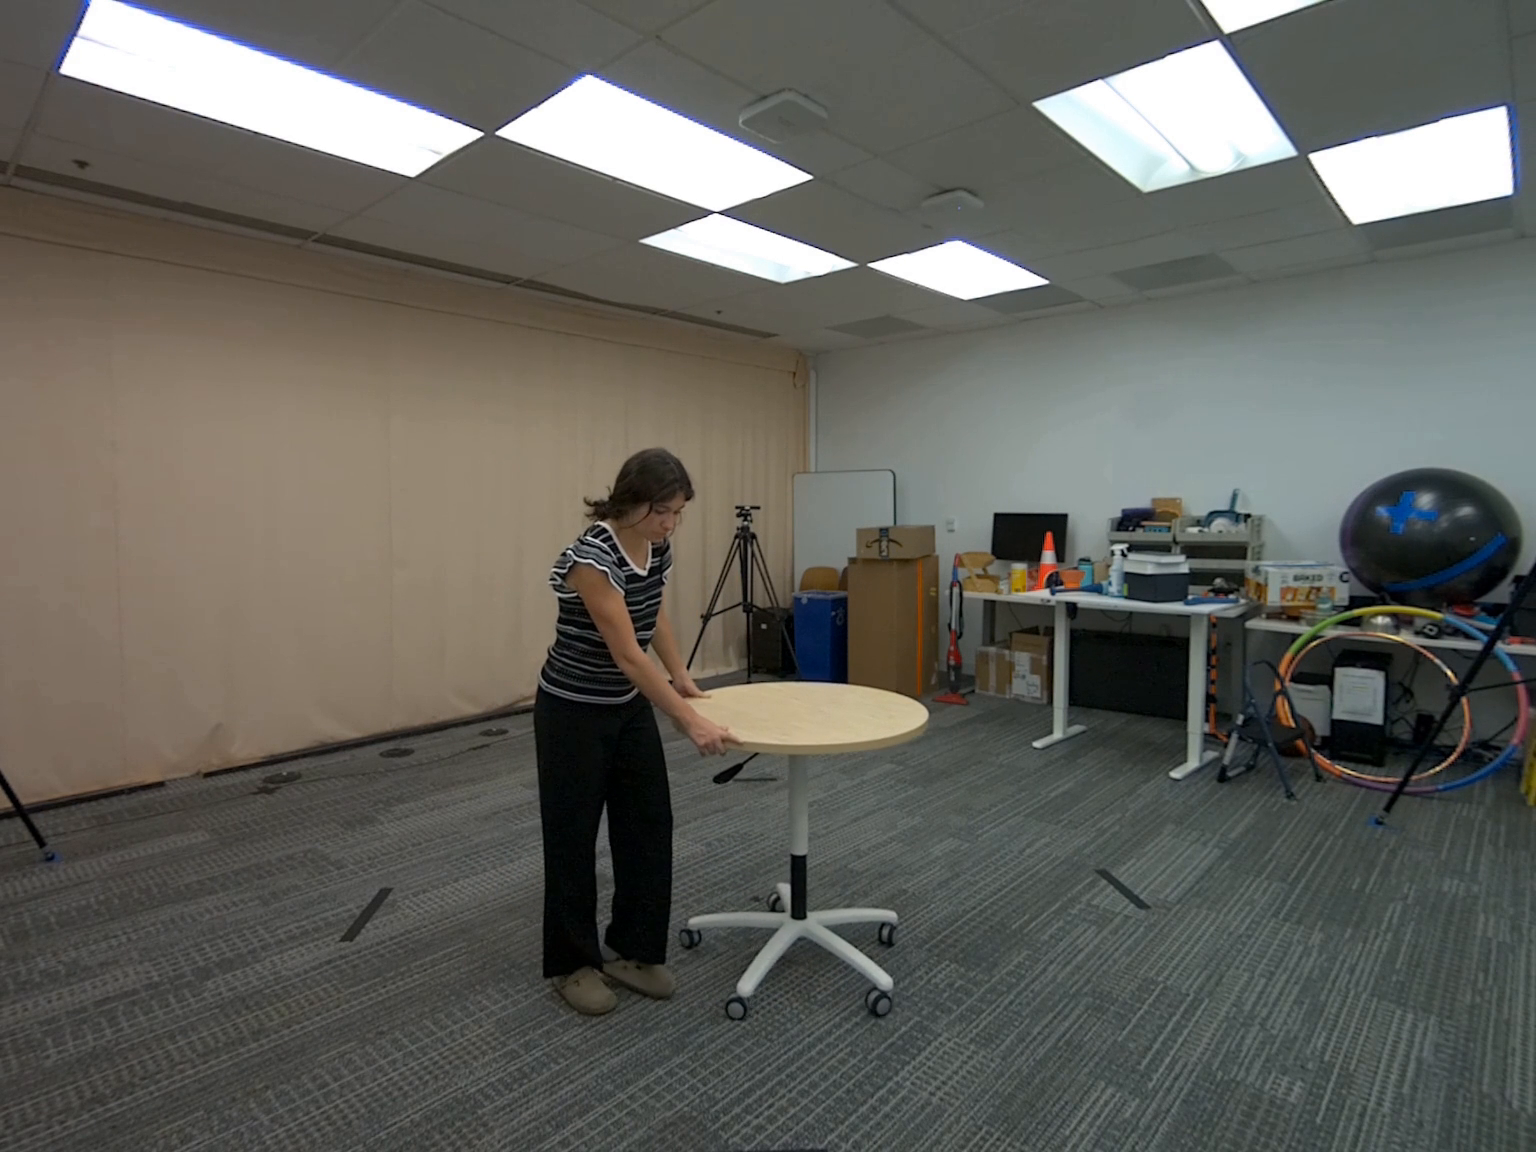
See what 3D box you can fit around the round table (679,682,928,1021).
[{"bbox_3d":[0.099,0.793,2.558,0.763,0.792,0.767,0,4,-2],"label":"round table"}]
